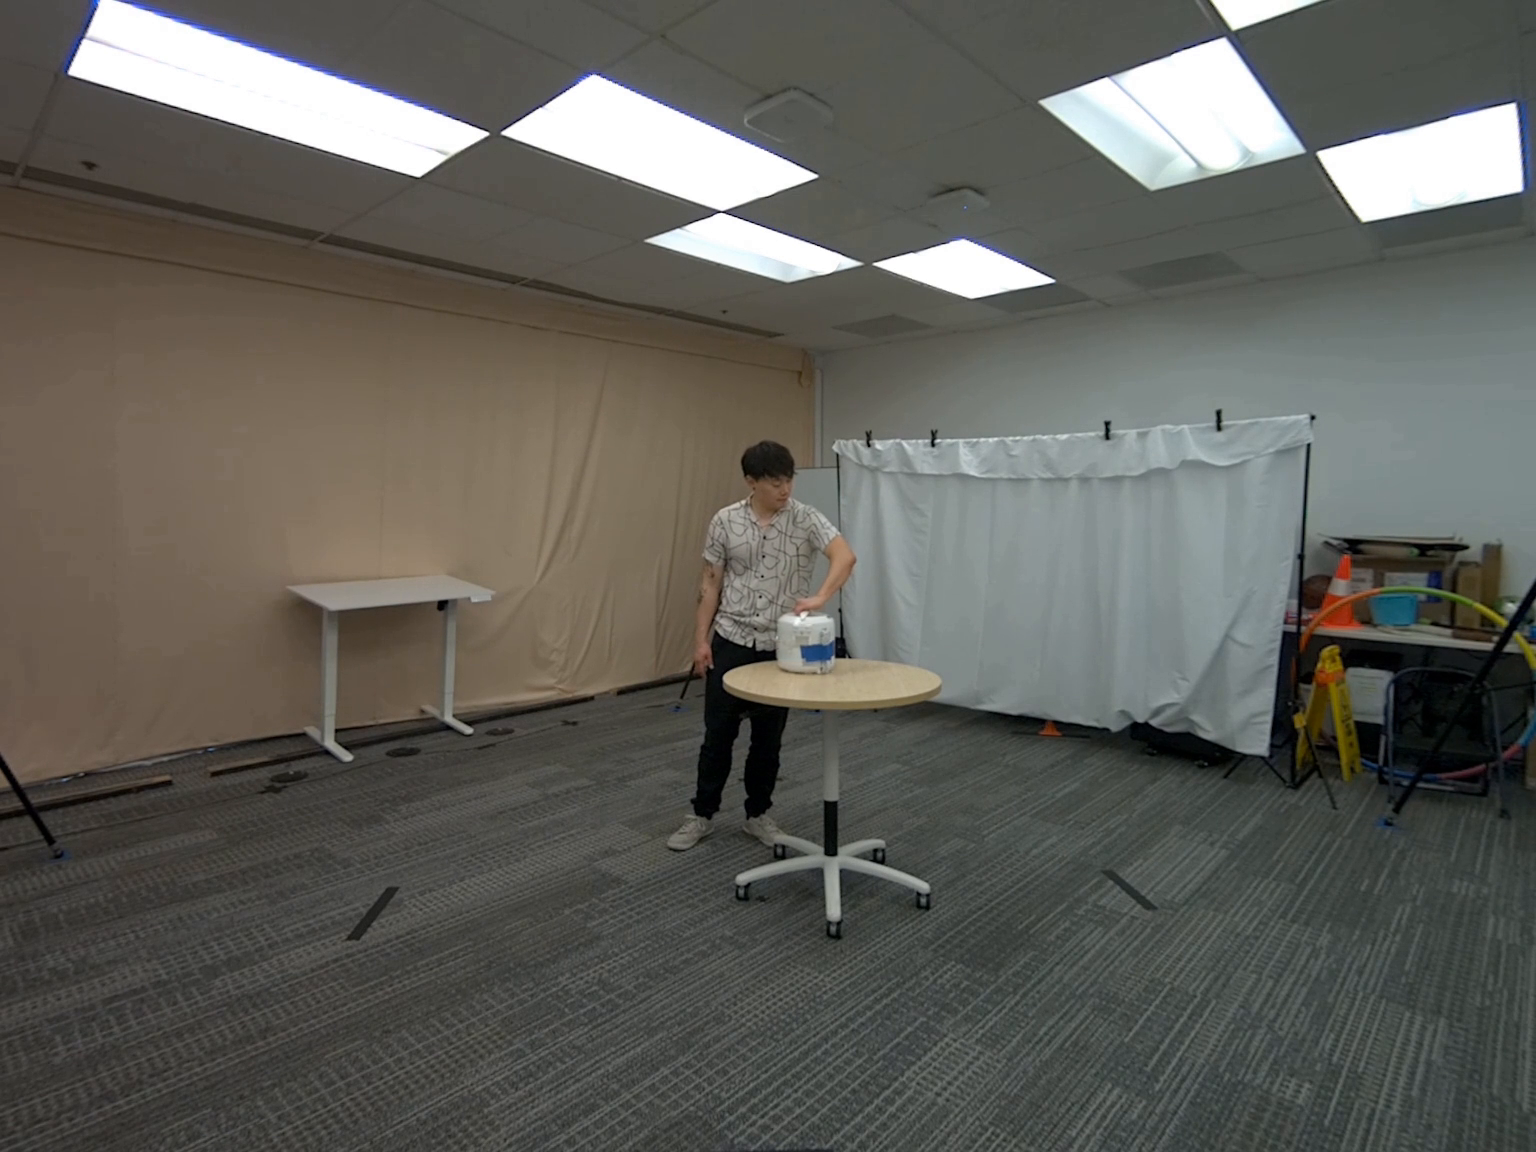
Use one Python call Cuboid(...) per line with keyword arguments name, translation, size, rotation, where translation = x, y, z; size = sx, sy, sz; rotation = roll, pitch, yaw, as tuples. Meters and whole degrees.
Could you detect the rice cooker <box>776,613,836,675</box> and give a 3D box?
Cuboid(name="rice cooker", translation=(0.145, 0.234, 3.127), size=(0.221, 0.232, 0.218), rotation=(1, 3, 13))
